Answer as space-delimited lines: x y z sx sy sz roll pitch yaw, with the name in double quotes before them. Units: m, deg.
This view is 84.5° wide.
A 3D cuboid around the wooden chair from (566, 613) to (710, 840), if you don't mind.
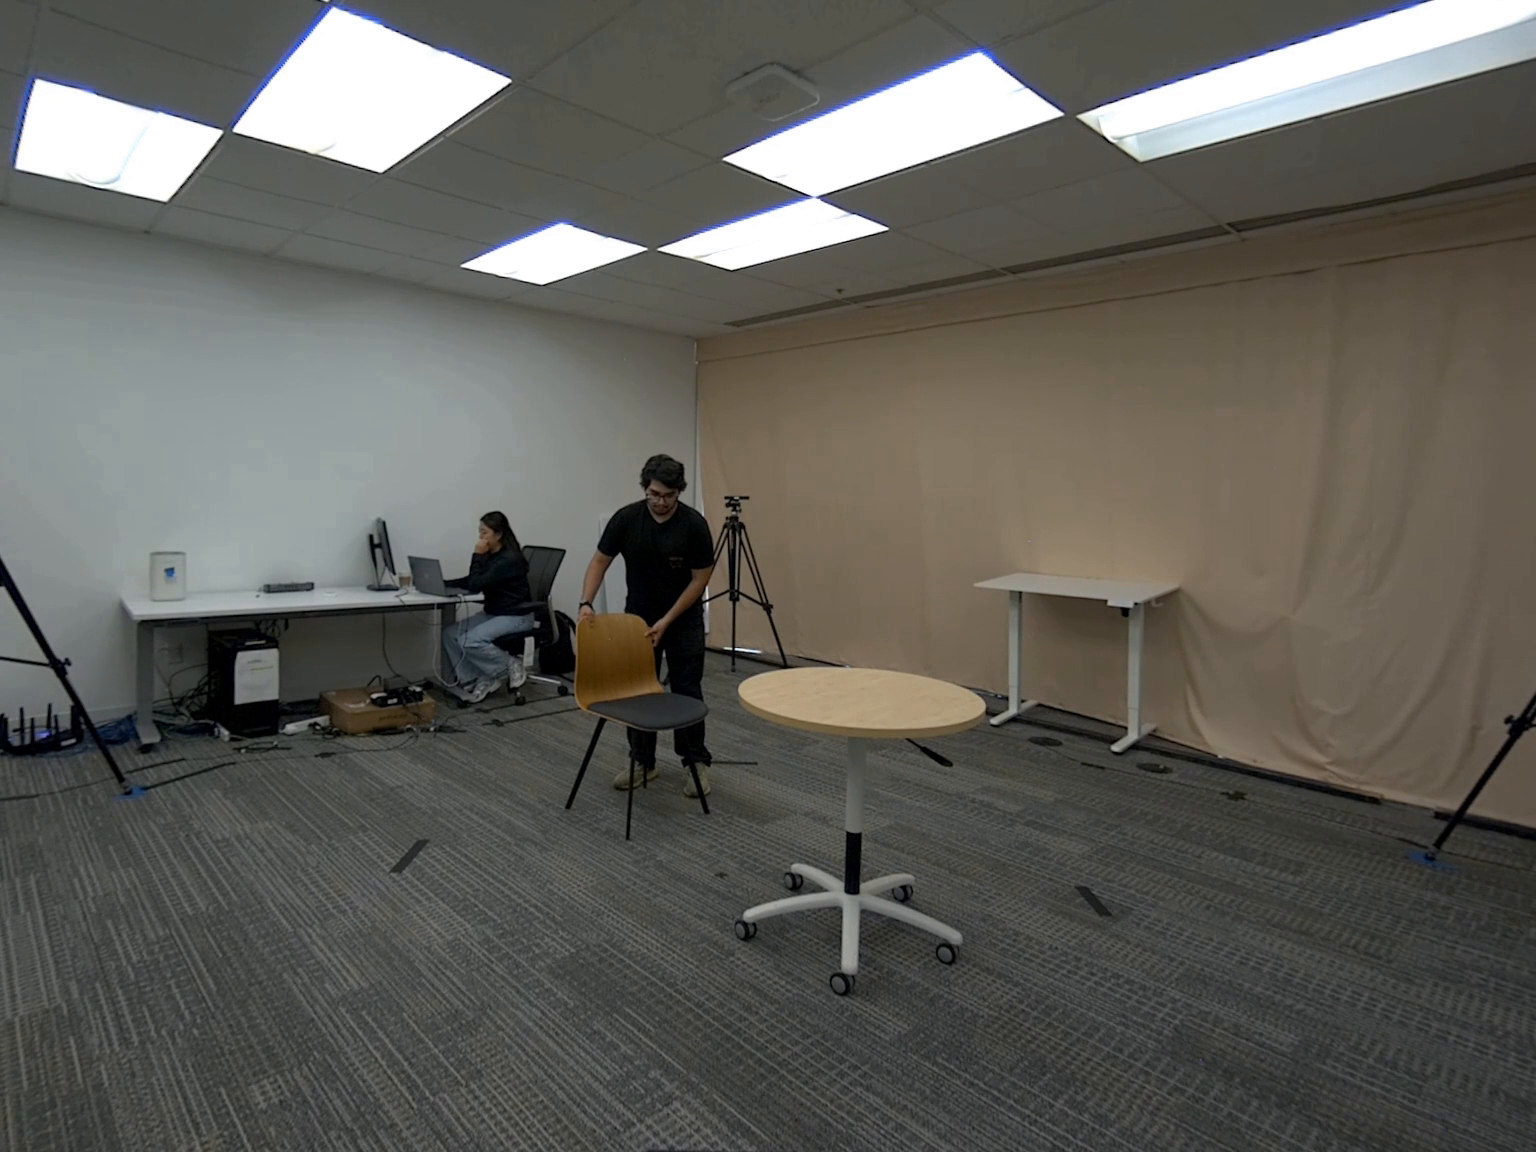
"wooden chair" -0.572 0.616 3.670 0.535 0.877 0.467 -1 0 45
